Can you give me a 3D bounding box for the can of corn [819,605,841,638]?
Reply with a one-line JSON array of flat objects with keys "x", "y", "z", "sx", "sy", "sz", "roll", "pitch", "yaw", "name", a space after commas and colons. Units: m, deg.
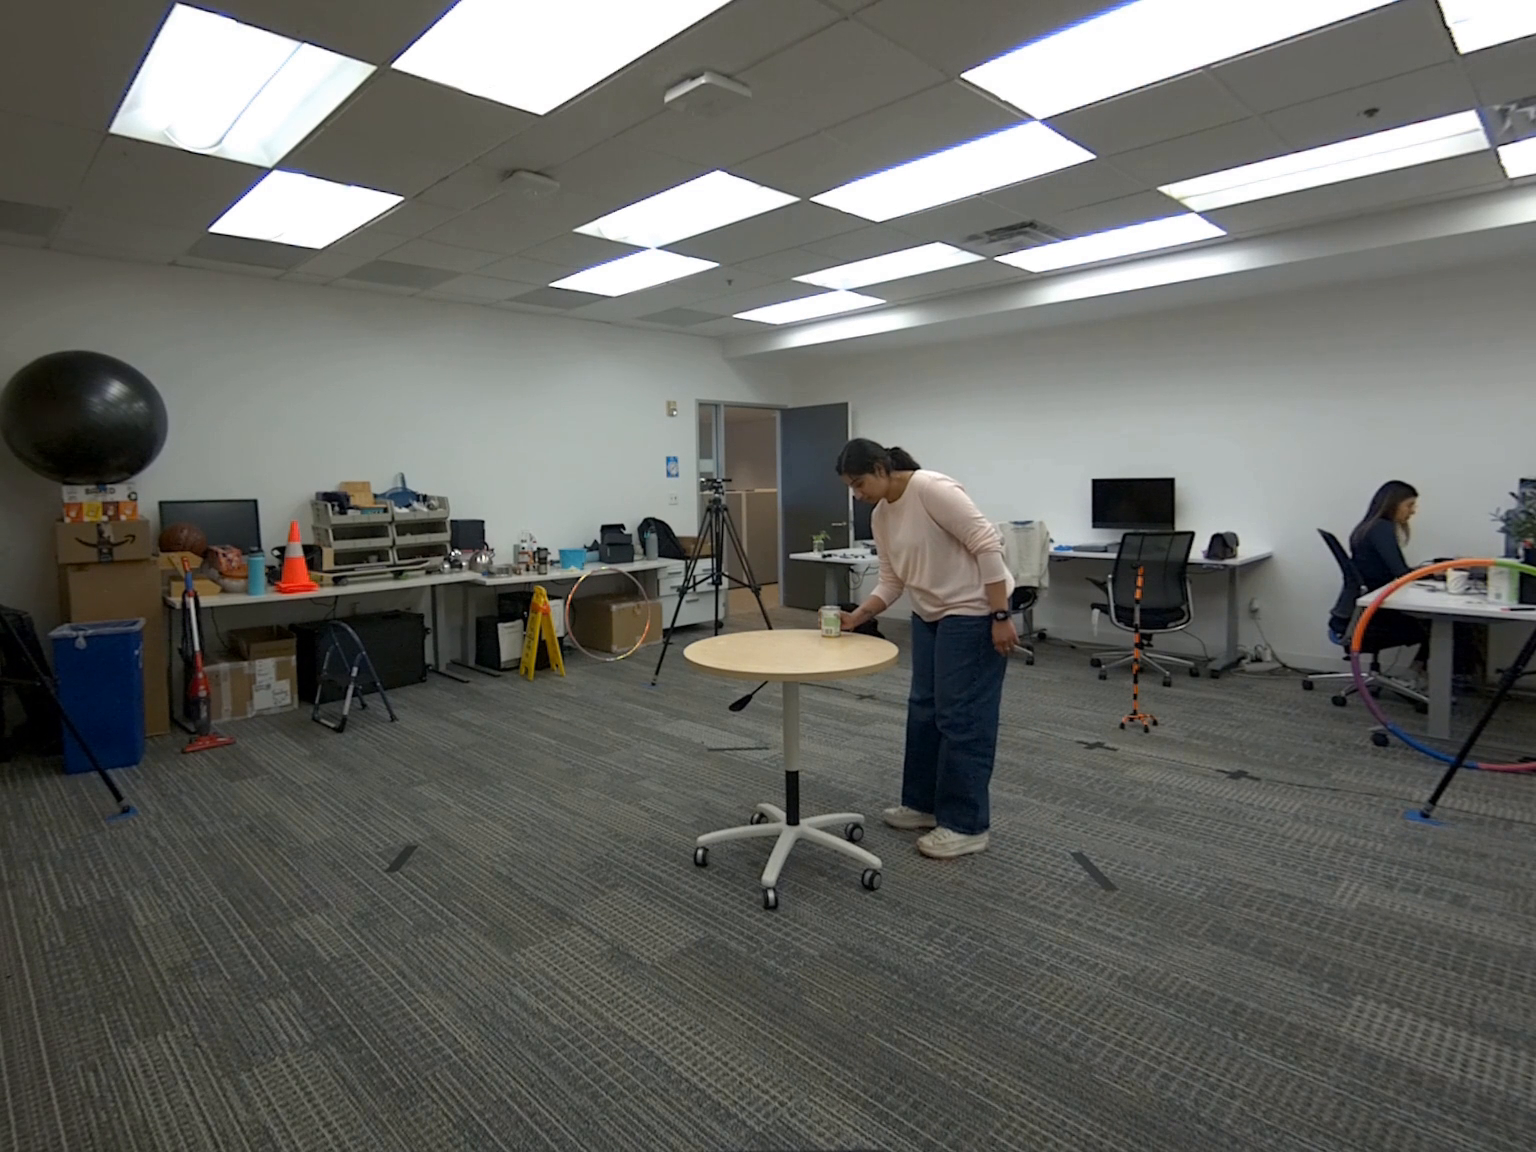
[{"x": 0.248, "y": 0.177, "z": 3.283, "sx": 0.074, "sy": 0.110, "sz": 0.074, "roll": 0, "pitch": 5, "yaw": -2, "name": "can of corn"}]
